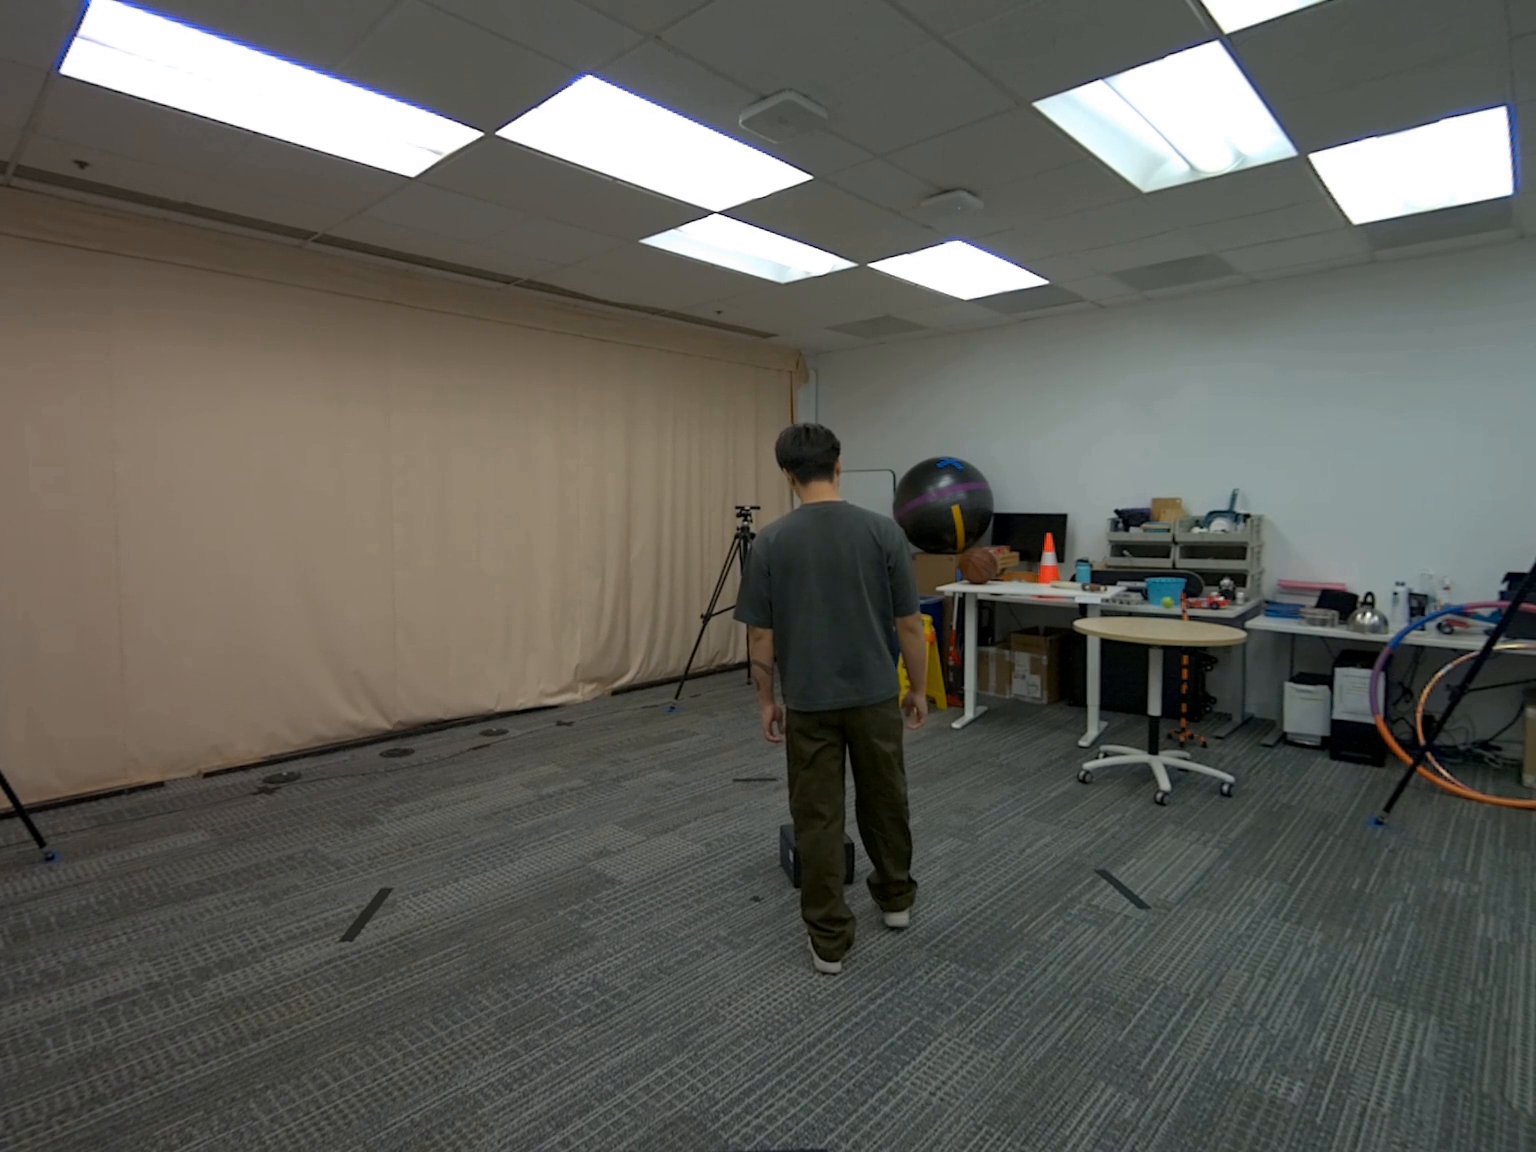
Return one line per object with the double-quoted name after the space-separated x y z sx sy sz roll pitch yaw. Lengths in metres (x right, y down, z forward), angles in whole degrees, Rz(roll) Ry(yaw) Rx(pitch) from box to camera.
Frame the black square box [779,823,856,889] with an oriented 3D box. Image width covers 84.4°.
0.186 1.040 3.179 0.225 0.155 0.220 -1 4 -13 "black square box"
